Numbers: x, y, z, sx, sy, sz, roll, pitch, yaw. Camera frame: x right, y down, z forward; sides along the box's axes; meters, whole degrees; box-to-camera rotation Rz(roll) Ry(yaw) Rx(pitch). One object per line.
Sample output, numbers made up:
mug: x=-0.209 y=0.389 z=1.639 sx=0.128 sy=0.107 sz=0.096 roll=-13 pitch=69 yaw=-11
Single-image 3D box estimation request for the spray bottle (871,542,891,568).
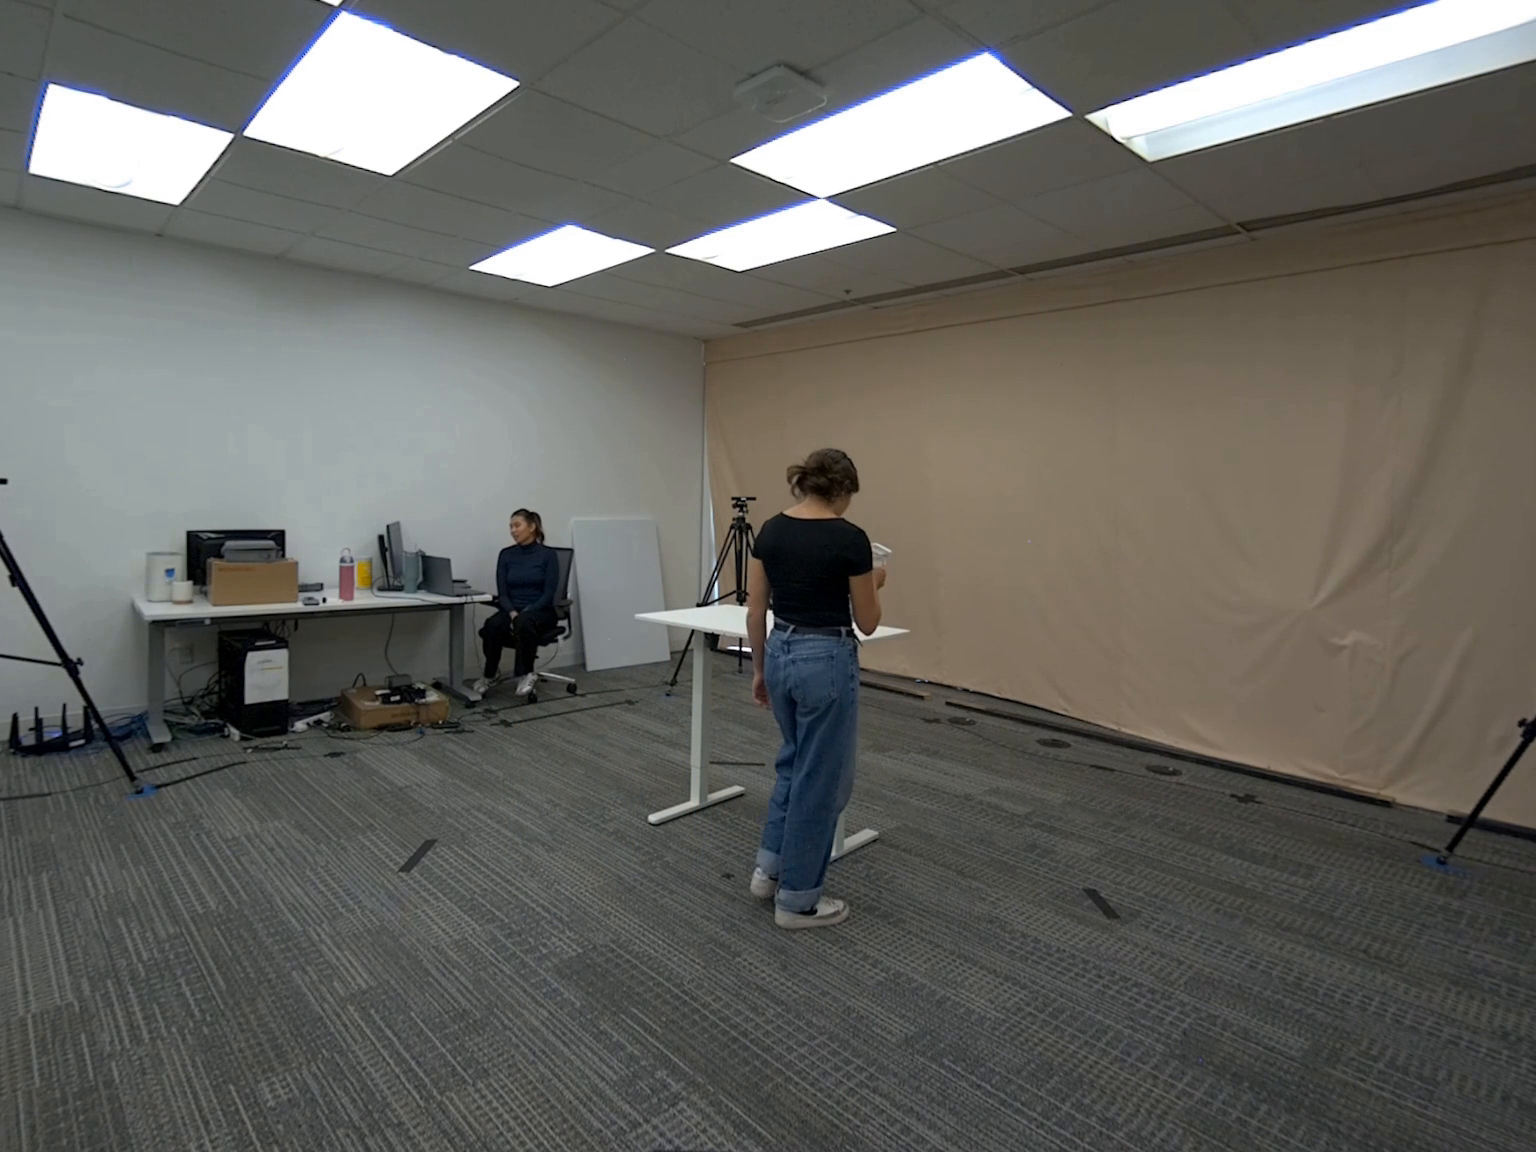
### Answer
spray bottle: x=0.345 y=0.022 z=2.950 sx=0.085 sy=0.294 sz=0.093 roll=2 pitch=30 yaw=-25
